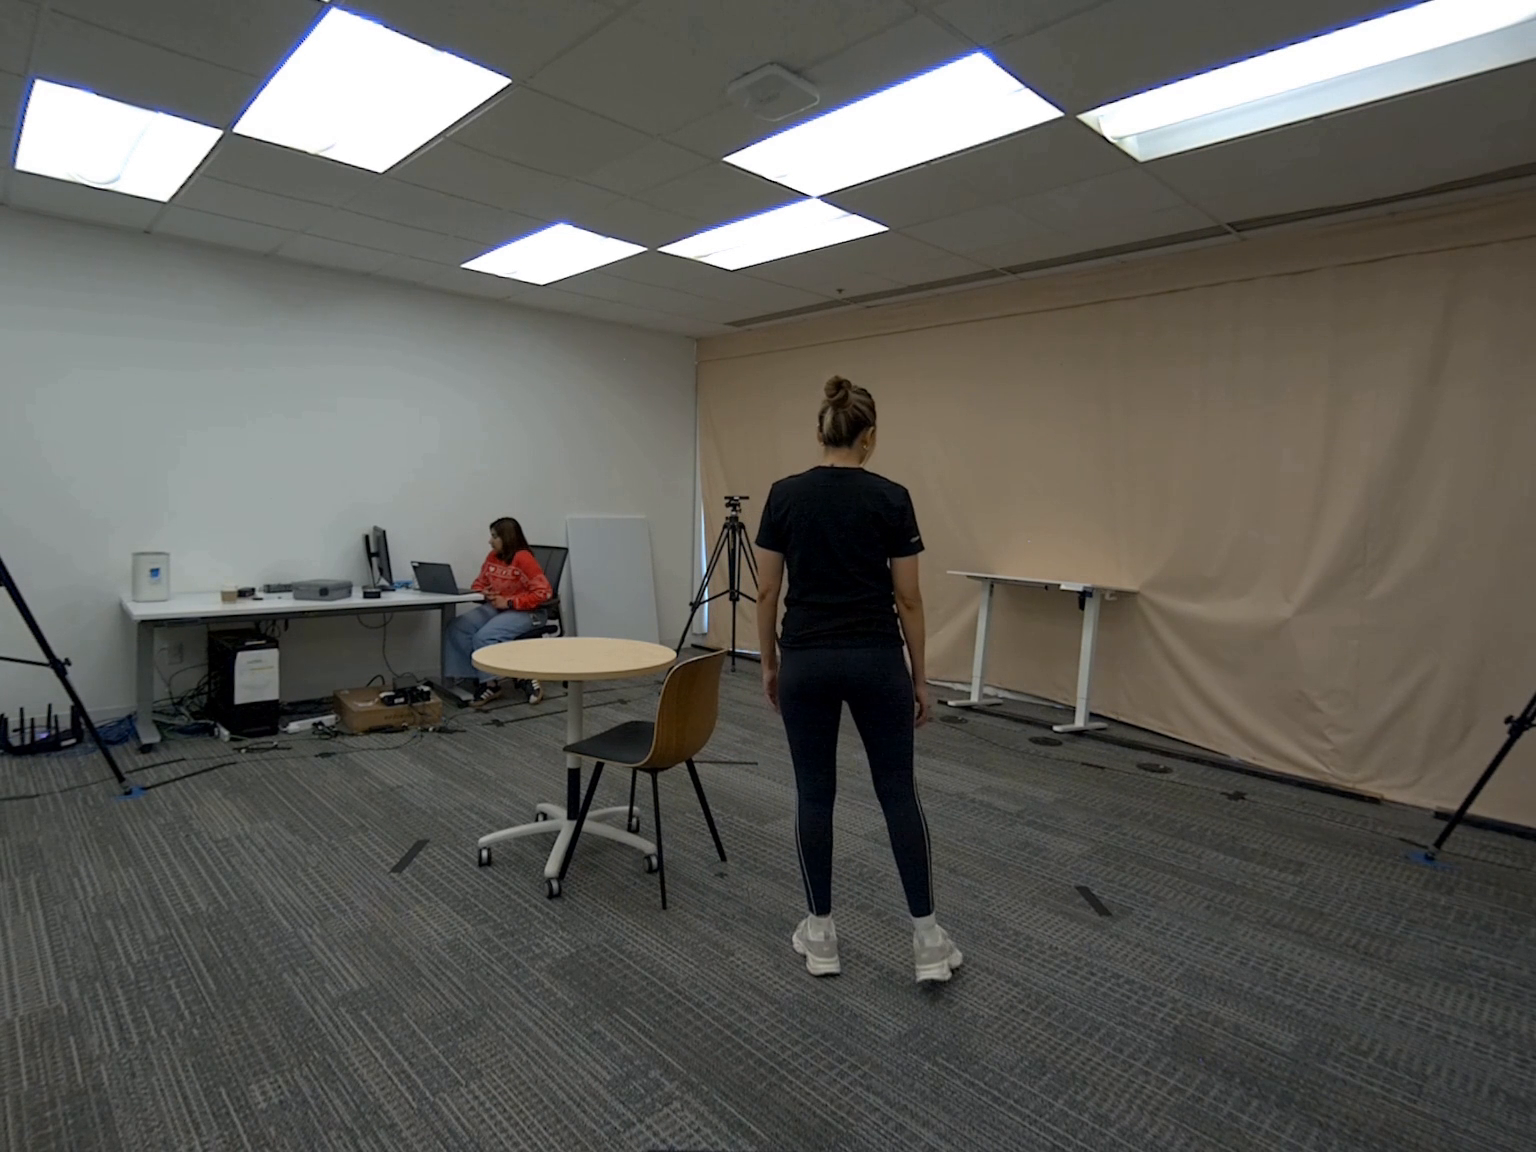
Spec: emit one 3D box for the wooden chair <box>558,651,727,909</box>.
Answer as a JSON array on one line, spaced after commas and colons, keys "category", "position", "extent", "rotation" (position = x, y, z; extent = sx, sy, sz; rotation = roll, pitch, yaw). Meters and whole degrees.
[{"category": "wooden chair", "position": [-0.455, 0.669, 3.097], "extent": [0.534, 0.874, 0.470], "rotation": [8, 6, 26]}]
